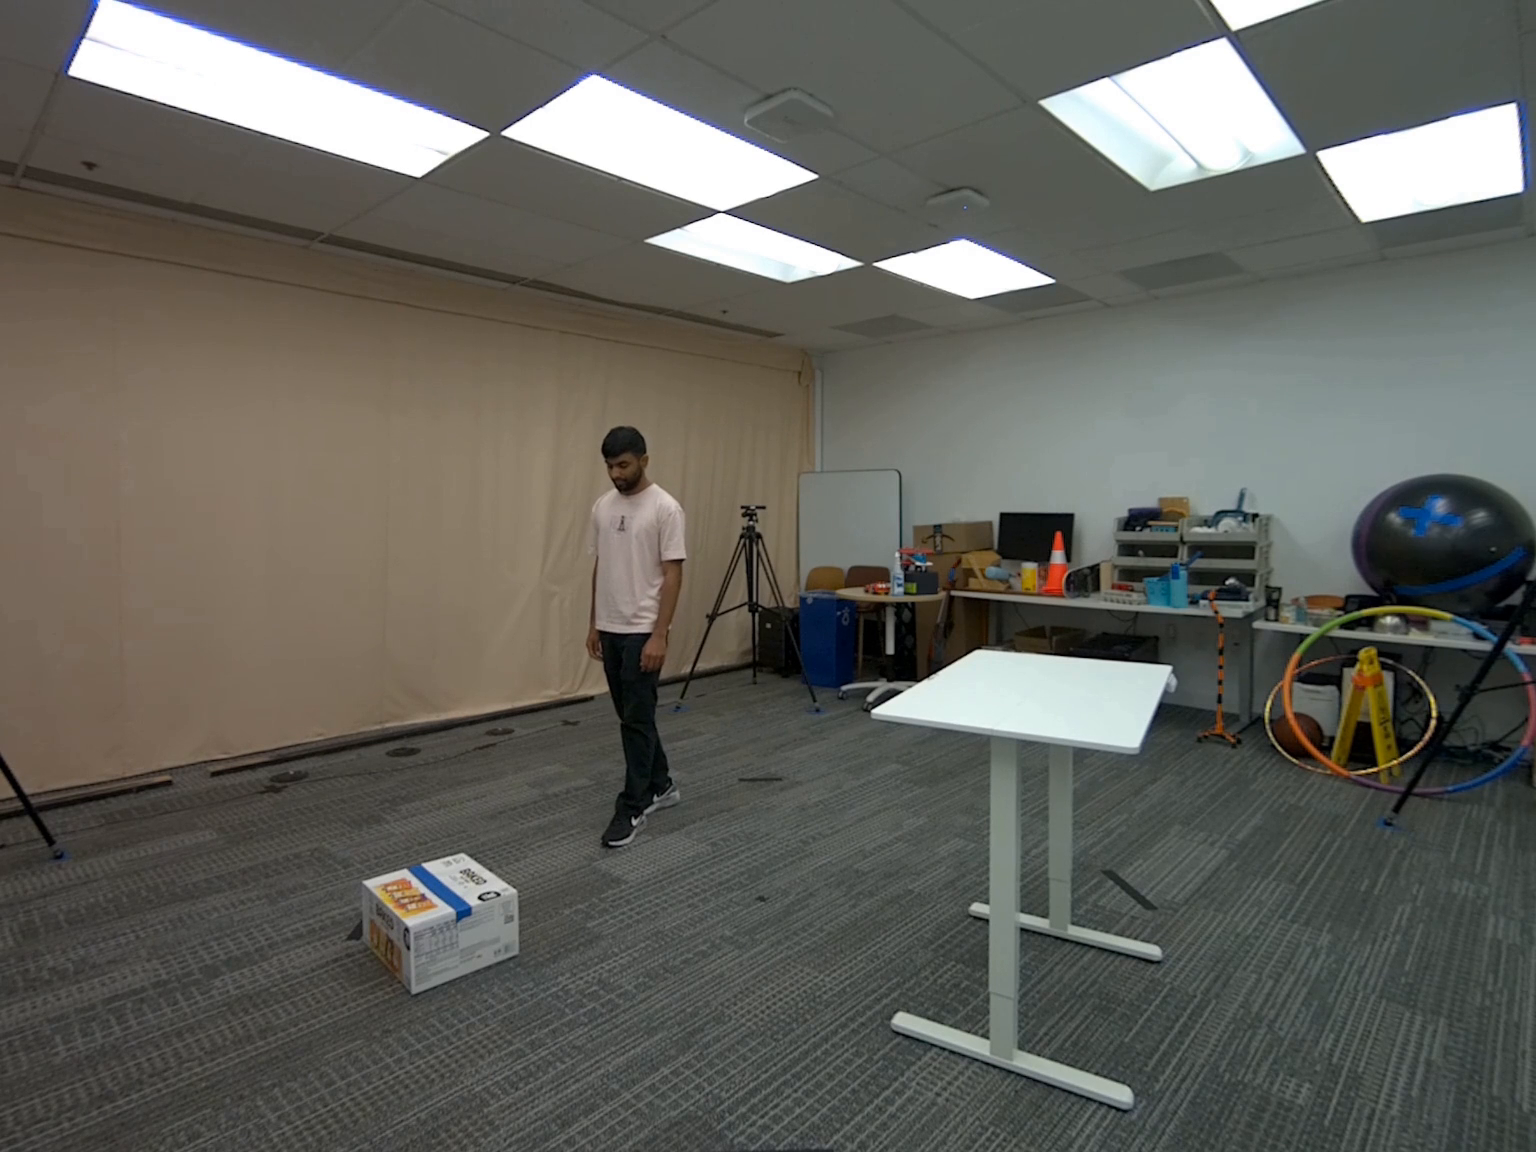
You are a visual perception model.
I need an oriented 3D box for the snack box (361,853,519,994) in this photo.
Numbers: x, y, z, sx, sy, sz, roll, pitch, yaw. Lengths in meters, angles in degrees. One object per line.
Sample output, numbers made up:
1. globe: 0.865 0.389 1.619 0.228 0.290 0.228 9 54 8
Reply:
1. snack box: -1.041 1.082 2.649 0.330 0.205 0.418 -4 6 -42
